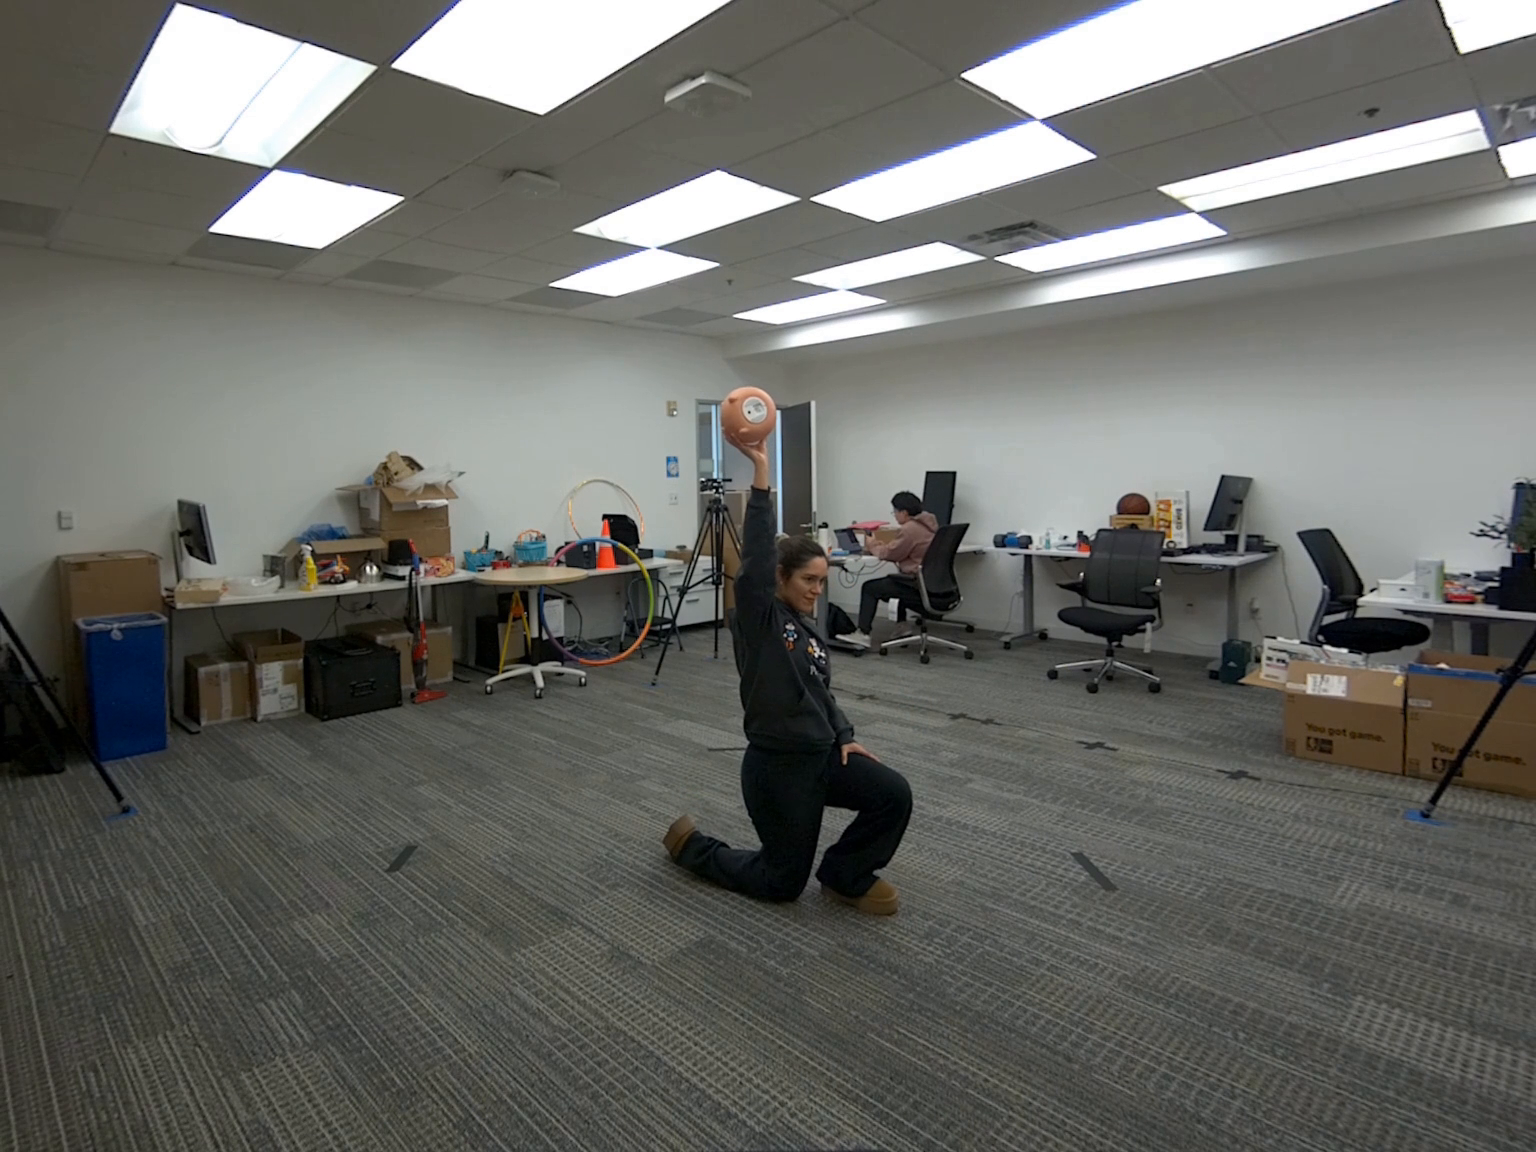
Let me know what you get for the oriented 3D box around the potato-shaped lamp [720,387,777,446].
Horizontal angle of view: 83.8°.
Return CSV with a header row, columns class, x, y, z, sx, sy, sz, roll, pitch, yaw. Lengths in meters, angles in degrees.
class,x,y,z,sx,sy,sz,roll,pitch,yaw
potato-shaped lamp,-0.071,-0.481,2.579,0.169,0.164,0.201,-23,3,-23
